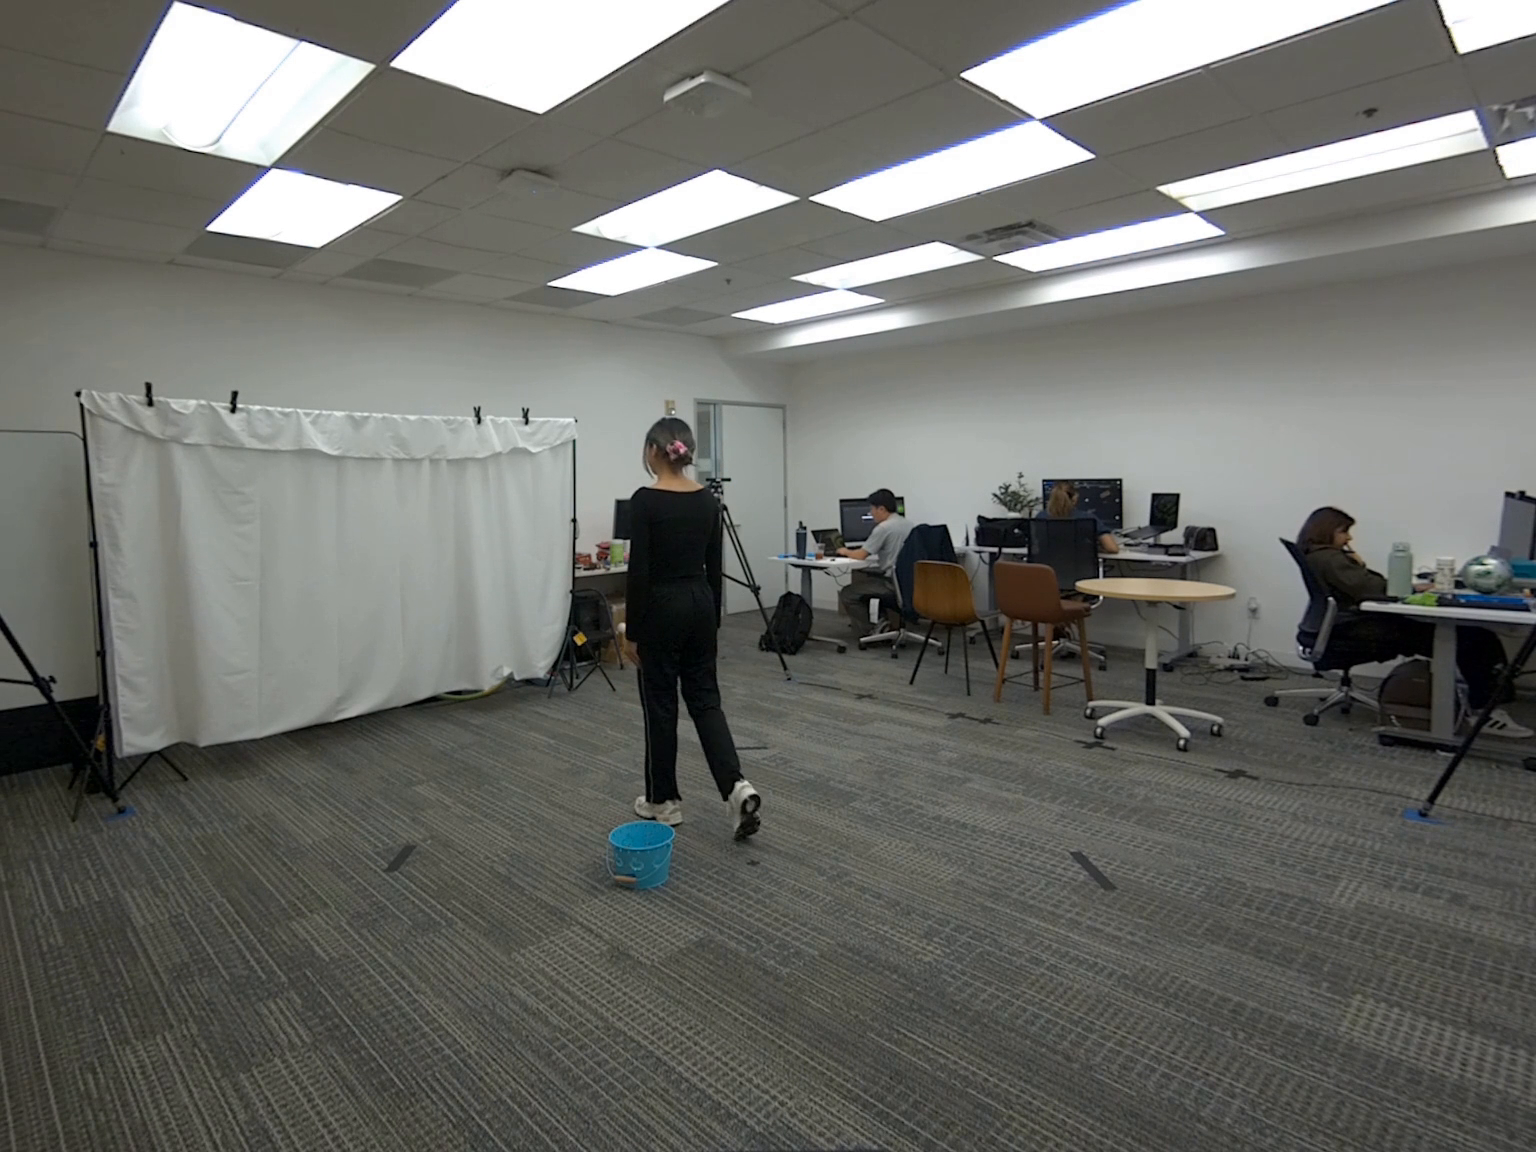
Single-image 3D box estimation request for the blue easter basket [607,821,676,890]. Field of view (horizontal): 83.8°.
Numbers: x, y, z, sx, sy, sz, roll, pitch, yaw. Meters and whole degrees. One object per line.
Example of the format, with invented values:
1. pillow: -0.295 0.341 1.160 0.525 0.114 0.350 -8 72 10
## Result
1. blue easter basket: -0.438 0.984 3.006 0.243 0.155 0.245 -2 7 -1
